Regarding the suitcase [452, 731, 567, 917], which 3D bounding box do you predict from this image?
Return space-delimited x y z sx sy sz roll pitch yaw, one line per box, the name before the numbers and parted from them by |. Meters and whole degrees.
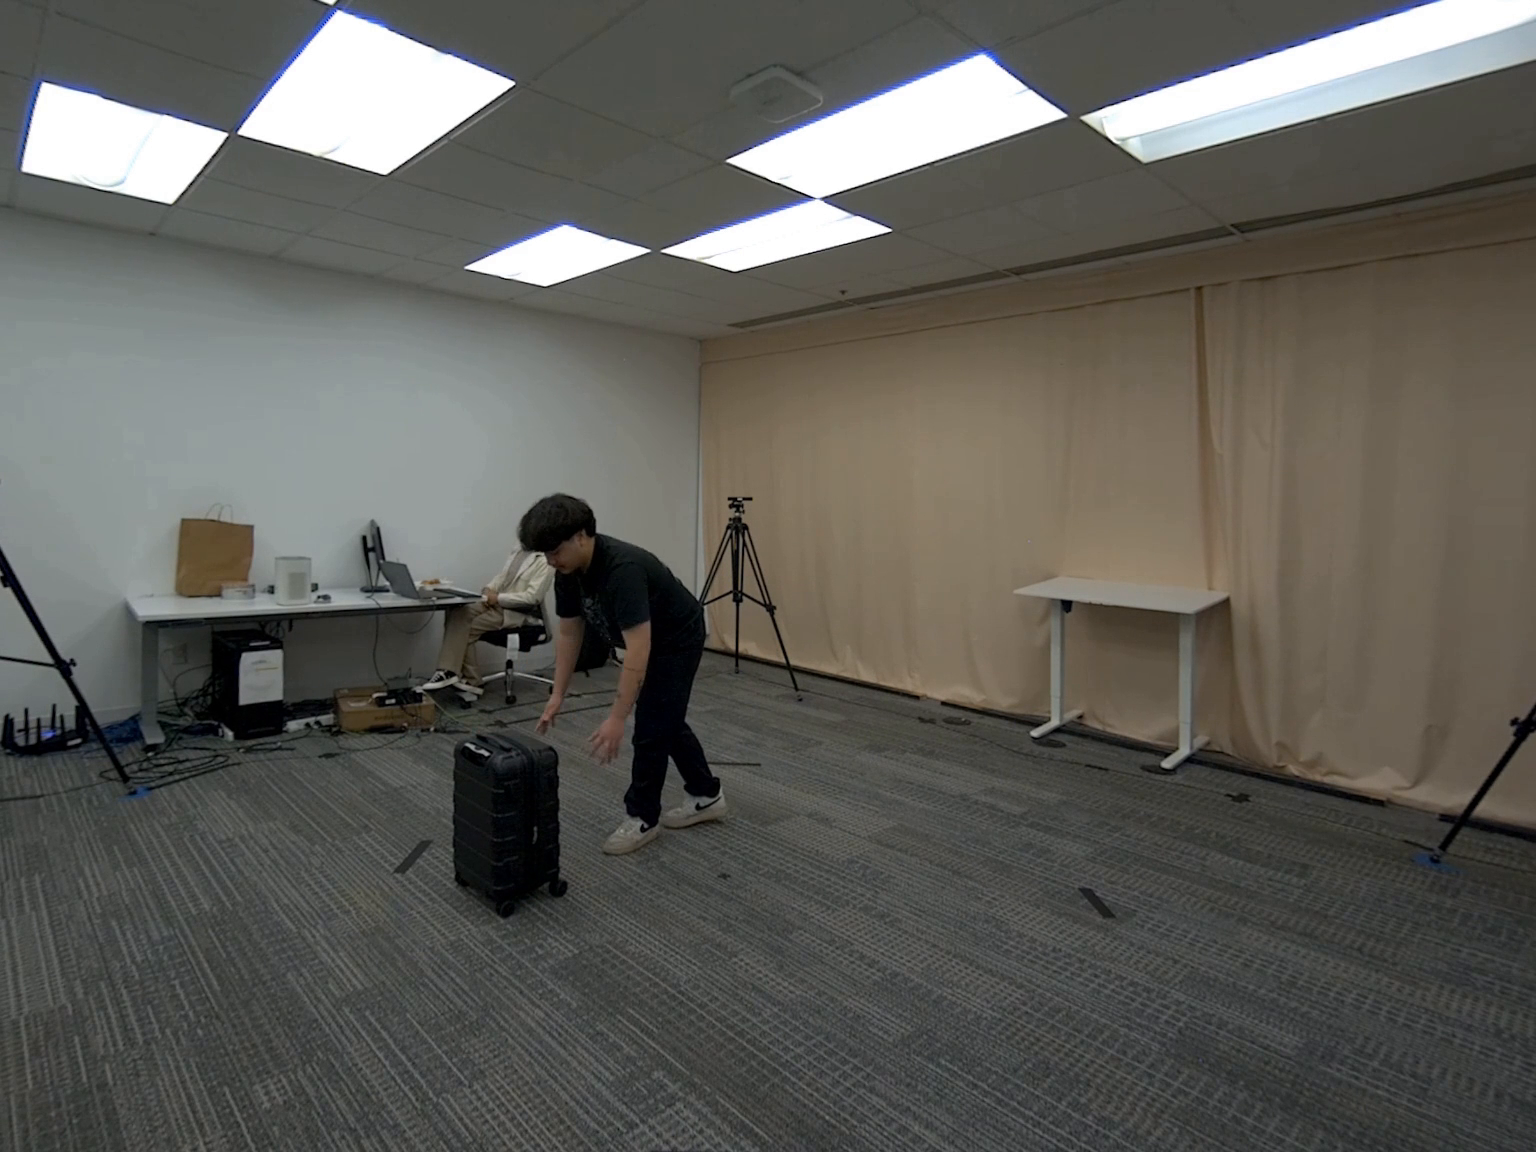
suitcase | -0.921 0.831 2.932 0.243 0.547 0.385 -4 7 -45
